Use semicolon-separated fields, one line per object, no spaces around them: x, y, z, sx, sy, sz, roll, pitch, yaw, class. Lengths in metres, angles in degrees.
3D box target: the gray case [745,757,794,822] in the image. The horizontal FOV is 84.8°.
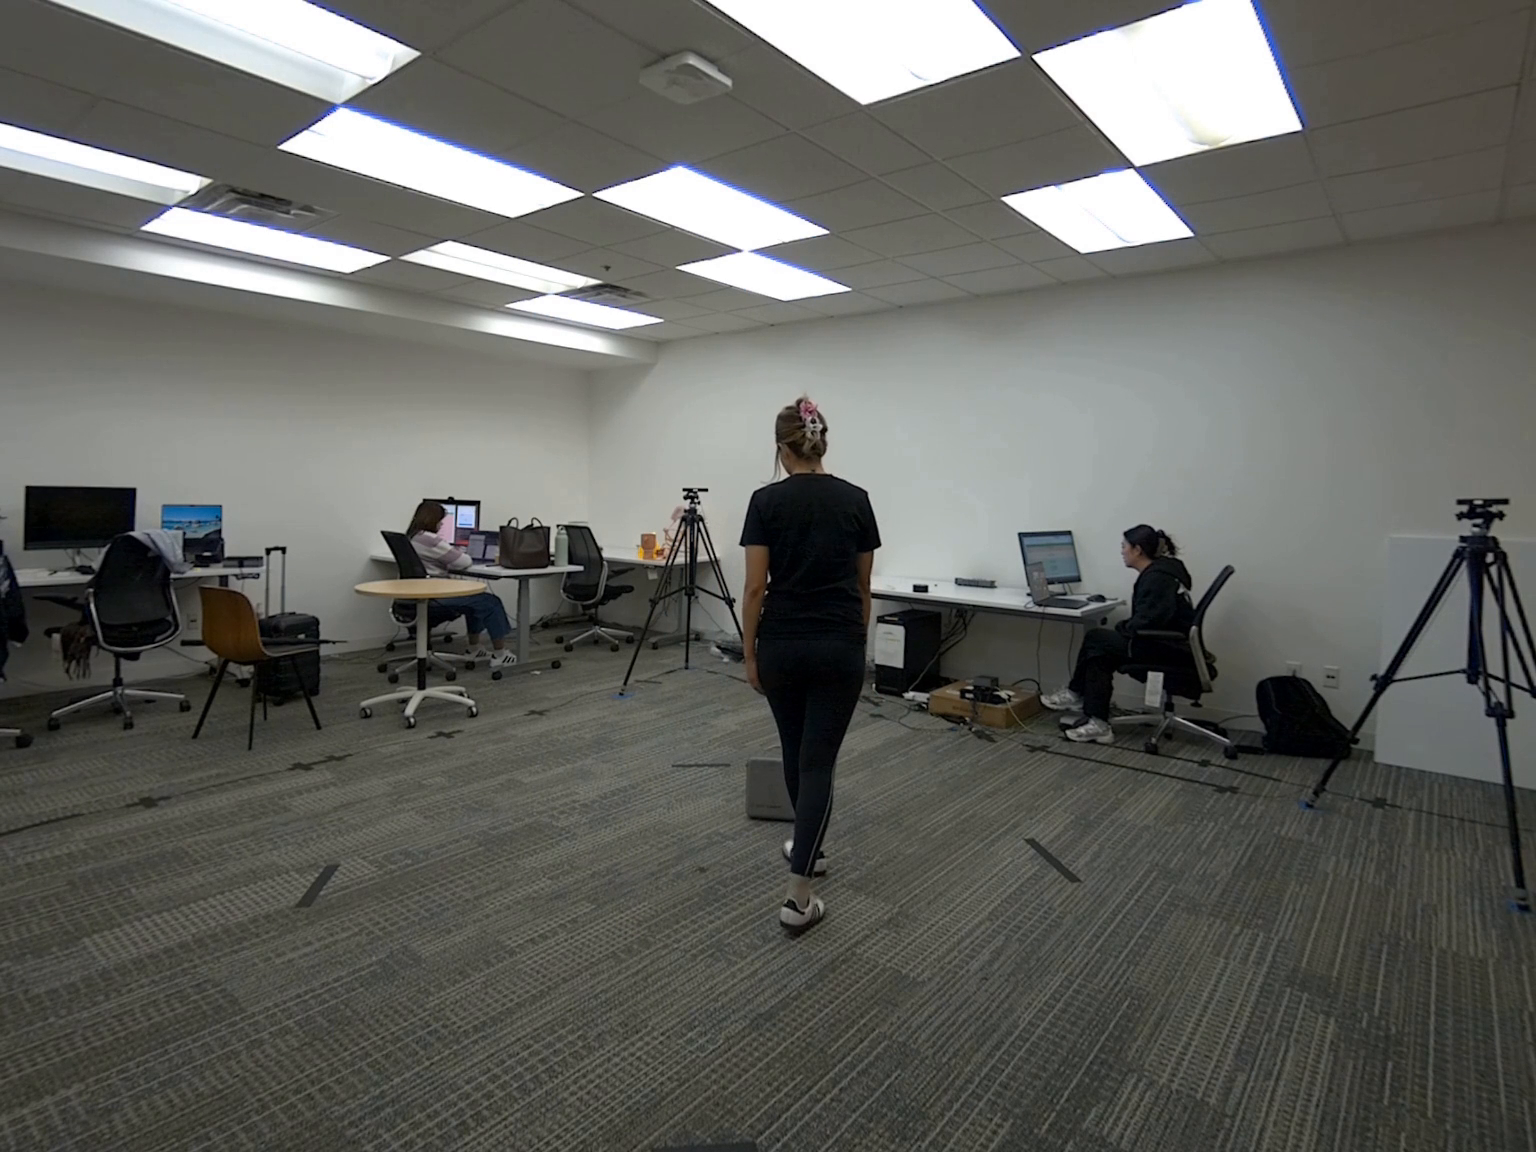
0.024;0.895;3.634;0.259;0.263;0.102;3;-9;9;gray case
